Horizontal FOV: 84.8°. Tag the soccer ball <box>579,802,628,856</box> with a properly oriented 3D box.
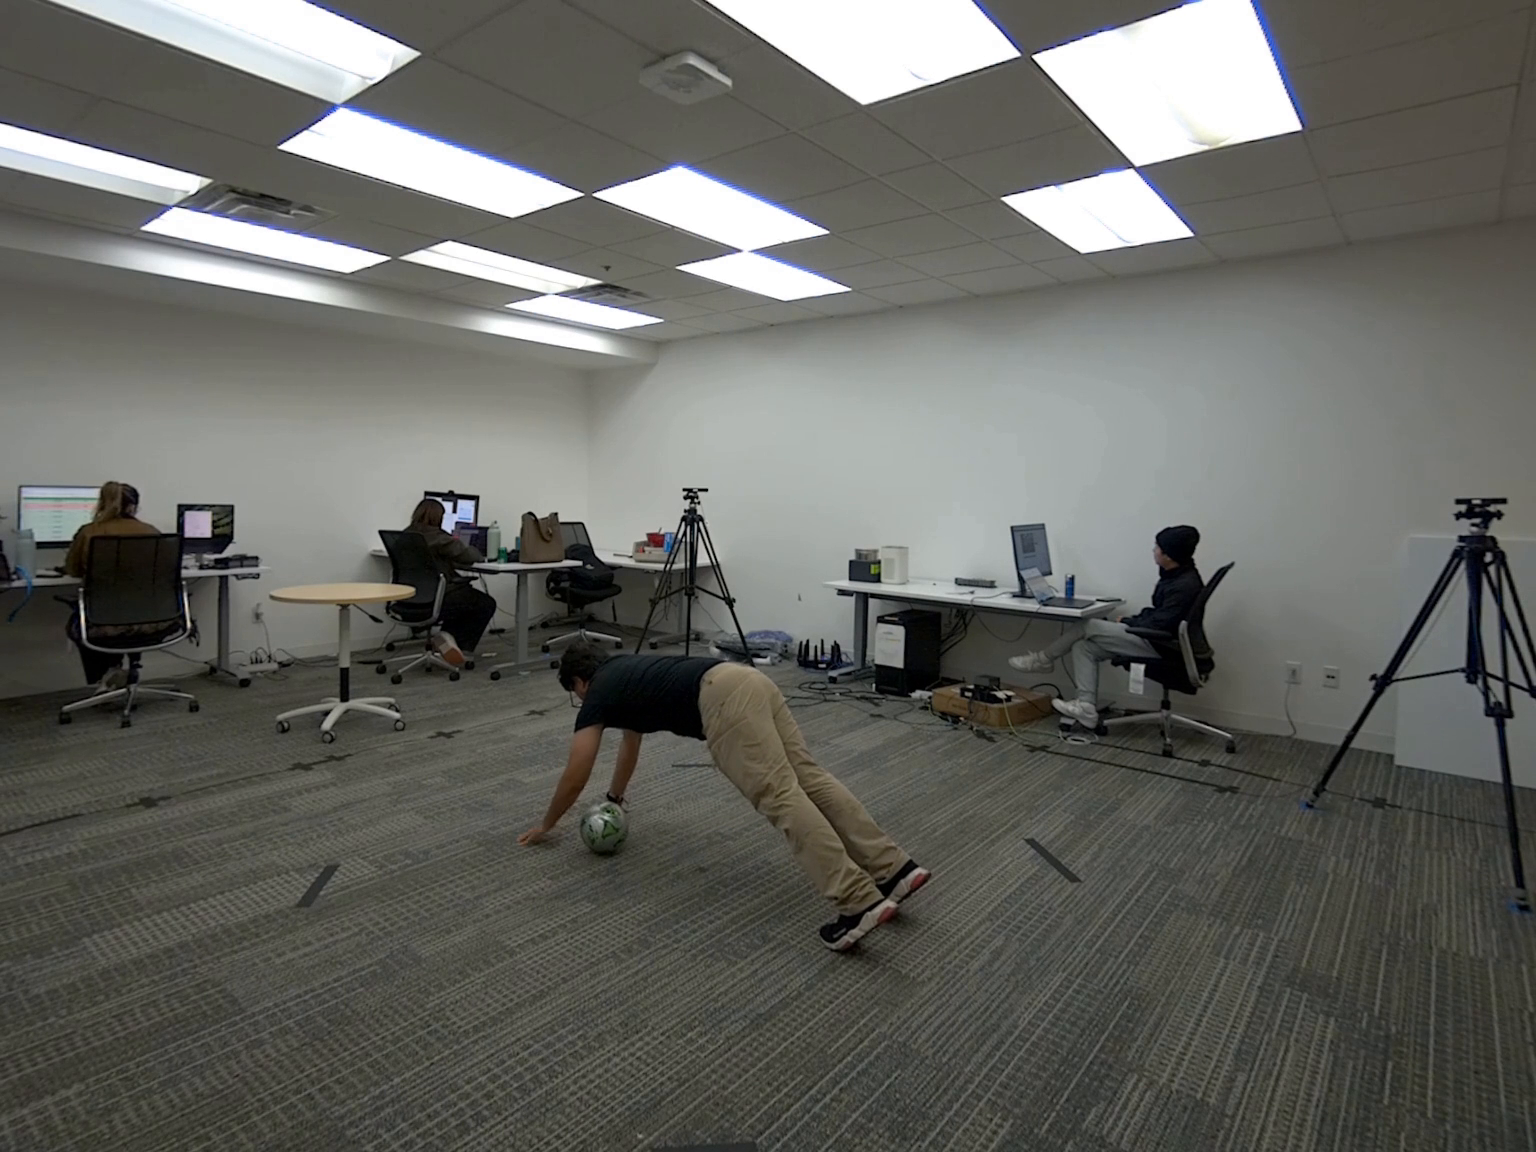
[{"bbox_3d":[-0.640,0.961,3.243,0.187,0.187,0.188,1,4,-2],"label":"soccer ball"}]
